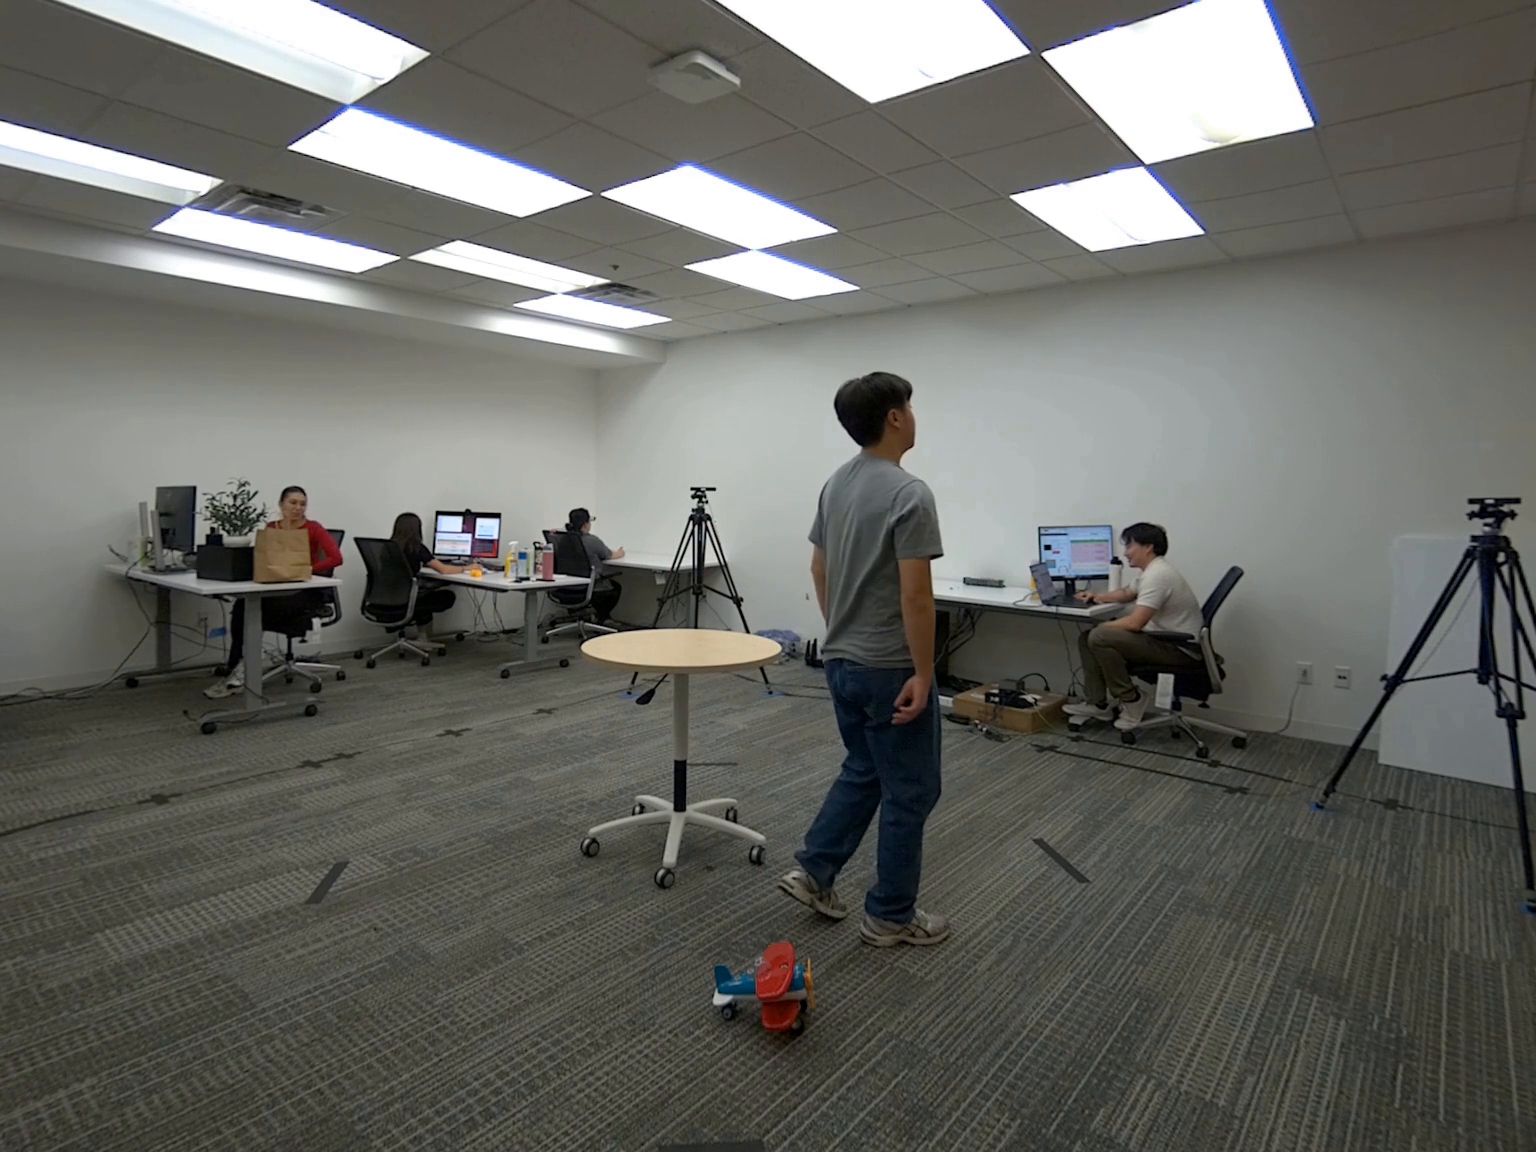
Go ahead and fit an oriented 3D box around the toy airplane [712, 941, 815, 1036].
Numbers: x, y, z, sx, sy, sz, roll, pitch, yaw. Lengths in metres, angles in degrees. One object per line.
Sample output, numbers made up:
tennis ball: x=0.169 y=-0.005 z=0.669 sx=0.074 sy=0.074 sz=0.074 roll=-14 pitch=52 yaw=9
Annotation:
toy airplane: x=-0.015 y=1.088 z=2.209 sx=0.254 sy=0.156 sz=0.257 roll=0 pitch=5 yaw=-20
